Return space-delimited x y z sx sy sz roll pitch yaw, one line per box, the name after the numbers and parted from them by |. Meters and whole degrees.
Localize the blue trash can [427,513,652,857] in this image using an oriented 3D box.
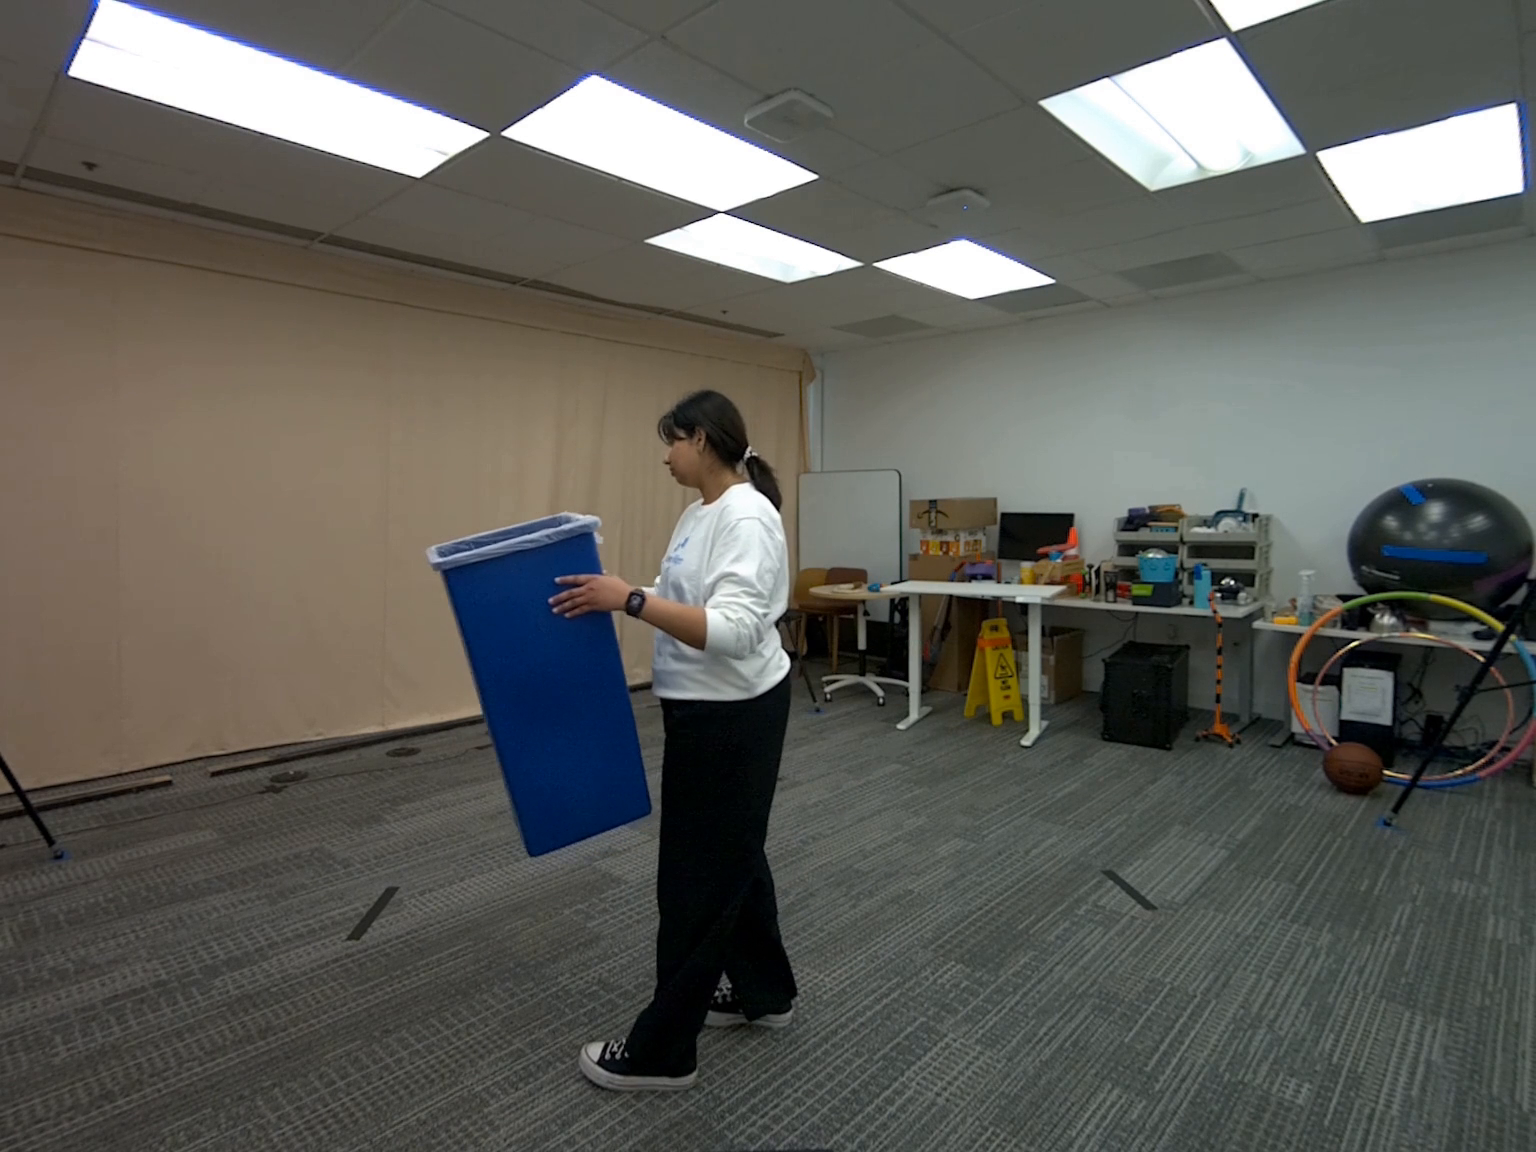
-0.537 0.244 2.011 0.368 0.708 0.387 -15 10 -21 | blue trash can
